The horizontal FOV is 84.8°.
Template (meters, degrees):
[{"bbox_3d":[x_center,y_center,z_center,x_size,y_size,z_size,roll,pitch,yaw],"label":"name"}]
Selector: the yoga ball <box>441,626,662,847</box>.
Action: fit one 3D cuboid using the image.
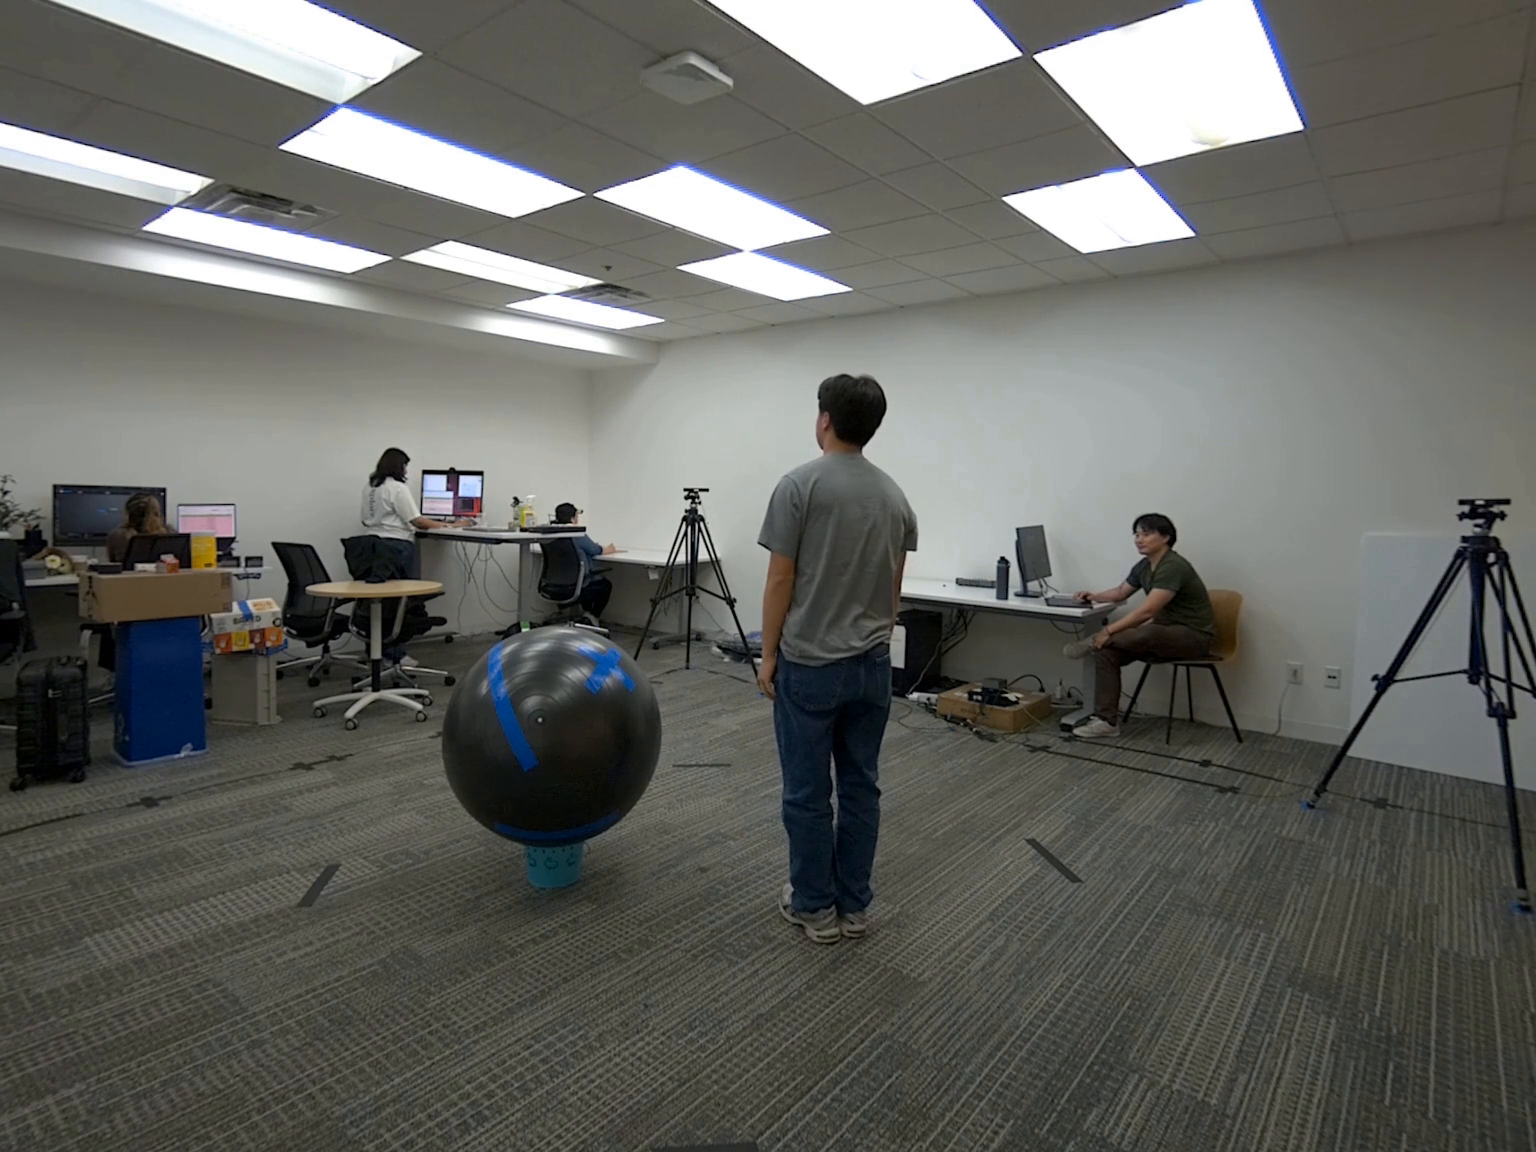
[{"bbox_3d":[-0.776,0.561,3.013,0.757,0.756,0.761,1,4,-2],"label":"yoga ball"}]
